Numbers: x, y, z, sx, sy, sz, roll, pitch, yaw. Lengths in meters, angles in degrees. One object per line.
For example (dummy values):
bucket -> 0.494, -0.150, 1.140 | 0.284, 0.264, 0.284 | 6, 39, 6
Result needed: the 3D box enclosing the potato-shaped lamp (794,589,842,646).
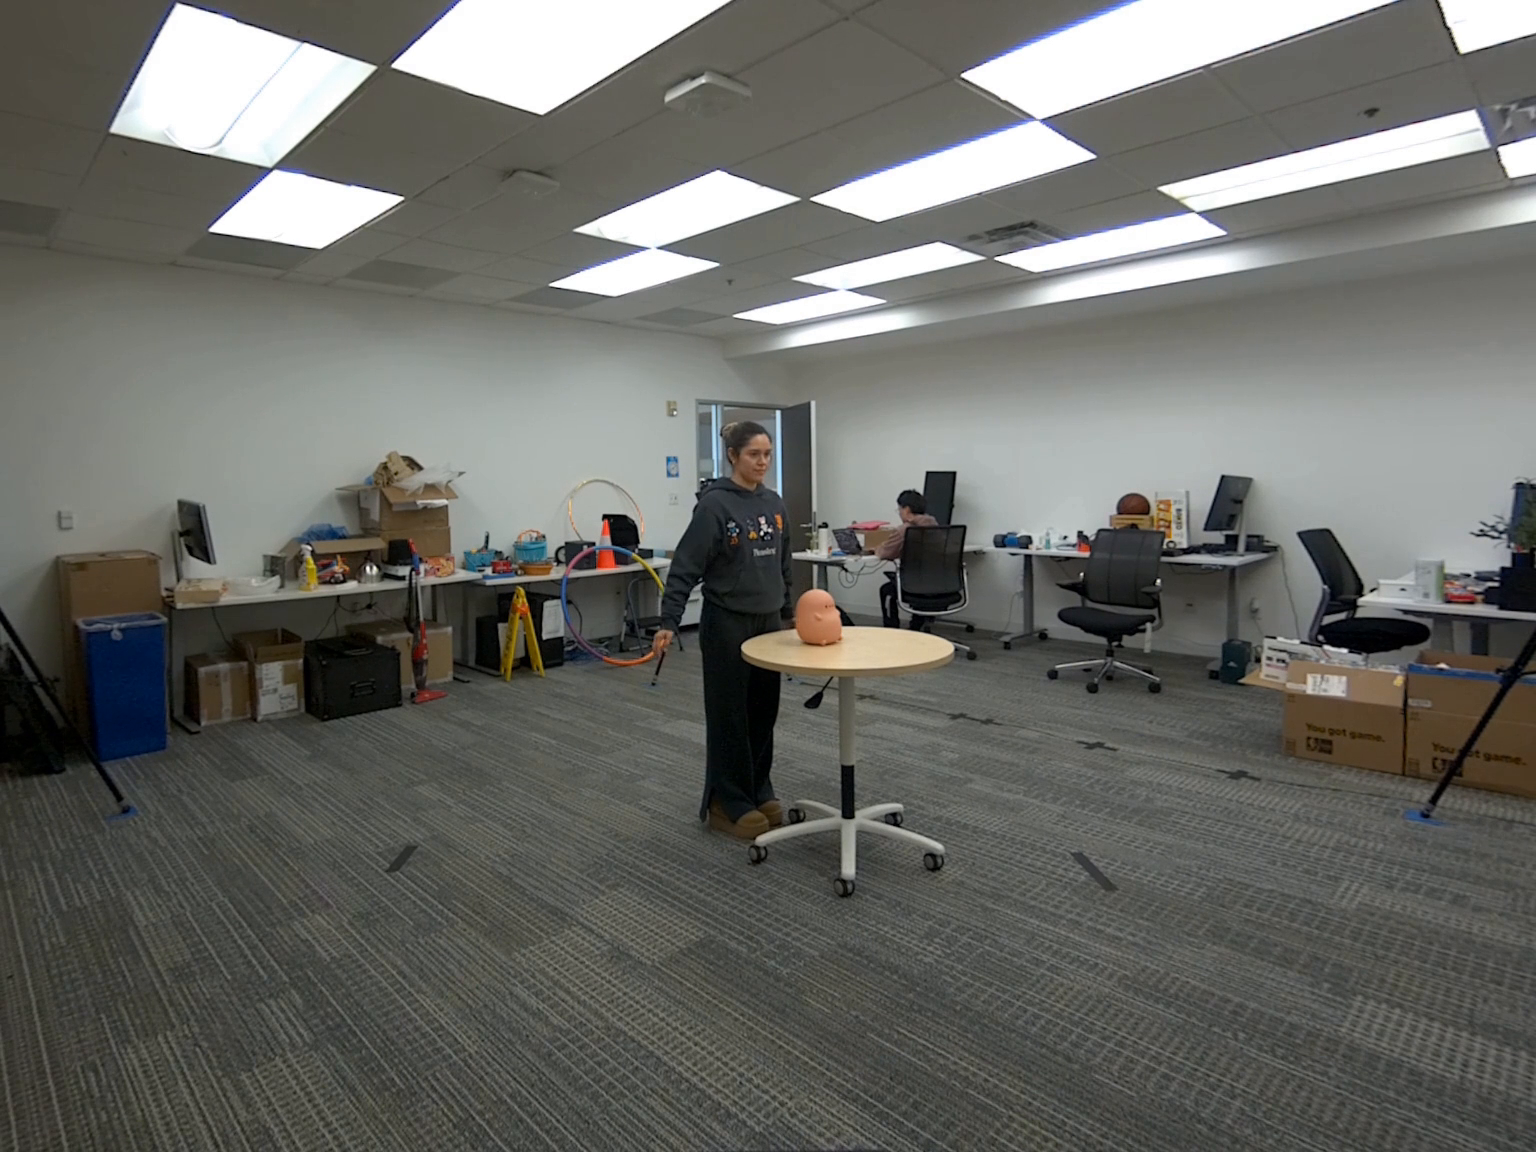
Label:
potato-shaped lamp -> 0.189, 0.151, 3.169 | 0.177, 0.197, 0.160 | 4, 6, 43
